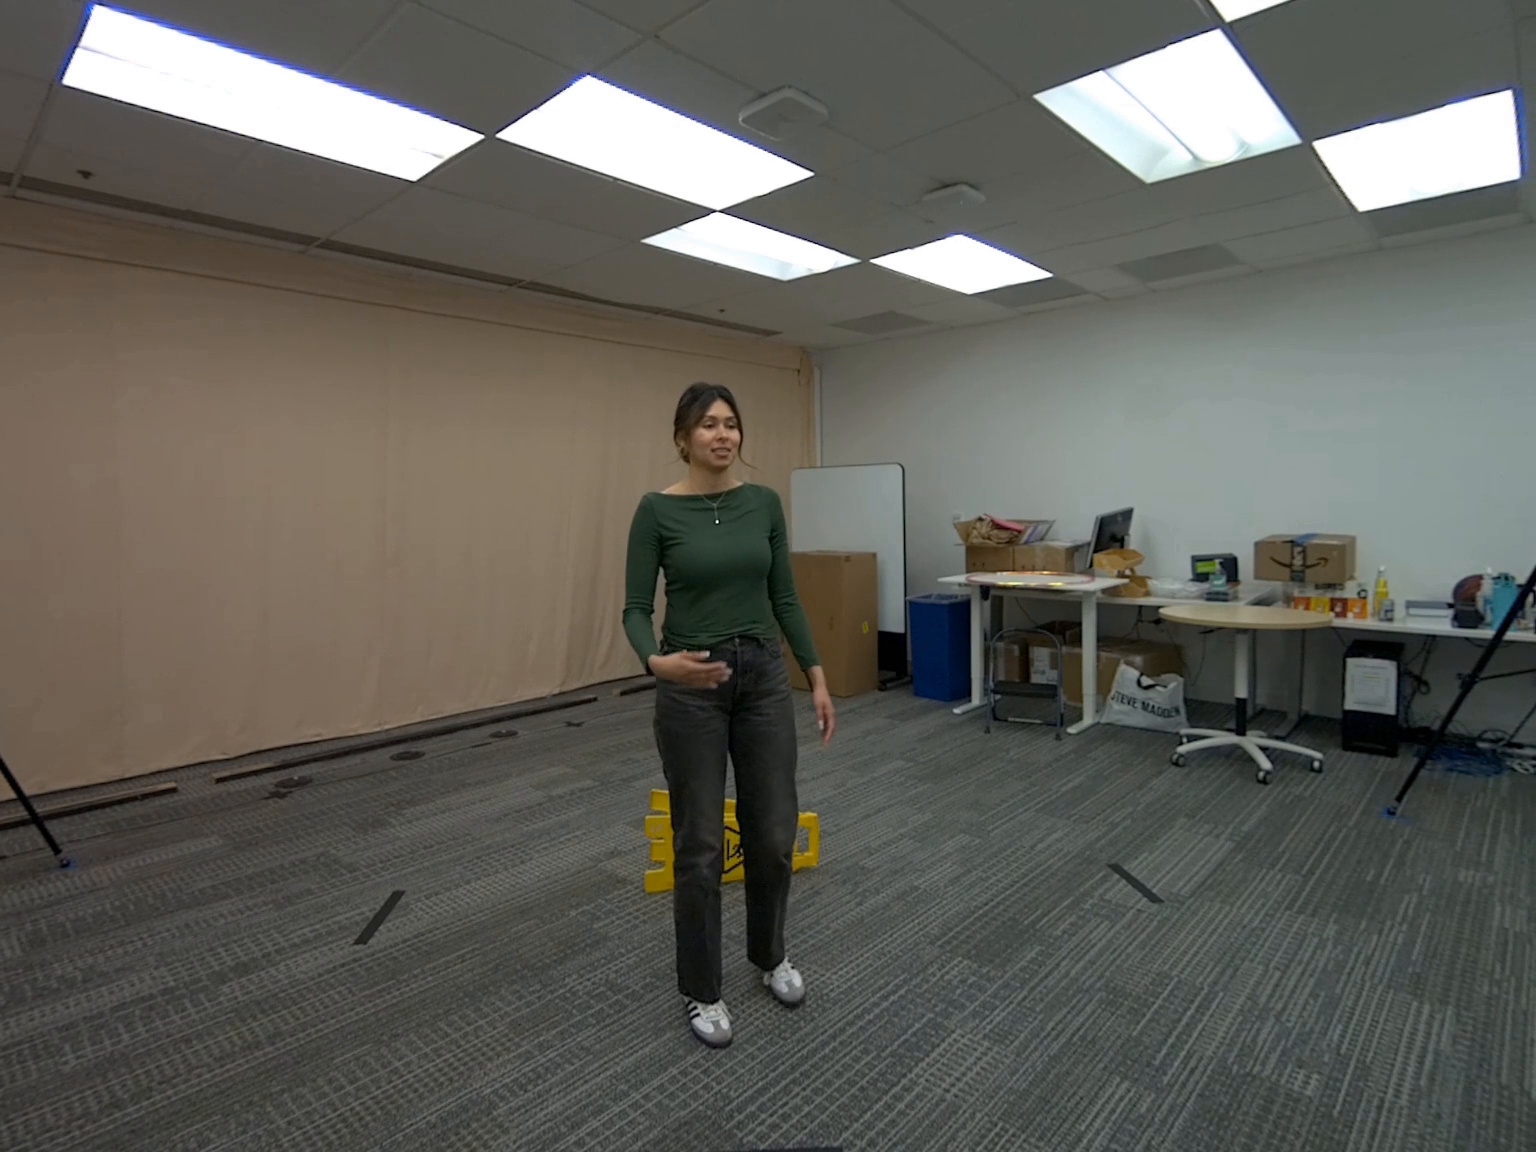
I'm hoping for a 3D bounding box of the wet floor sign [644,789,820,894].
[{"bbox_3d":[-0.126,0.994,3.183,0.645,0.282,0.290,1,2,-2],"label":"wet floor sign"}]
